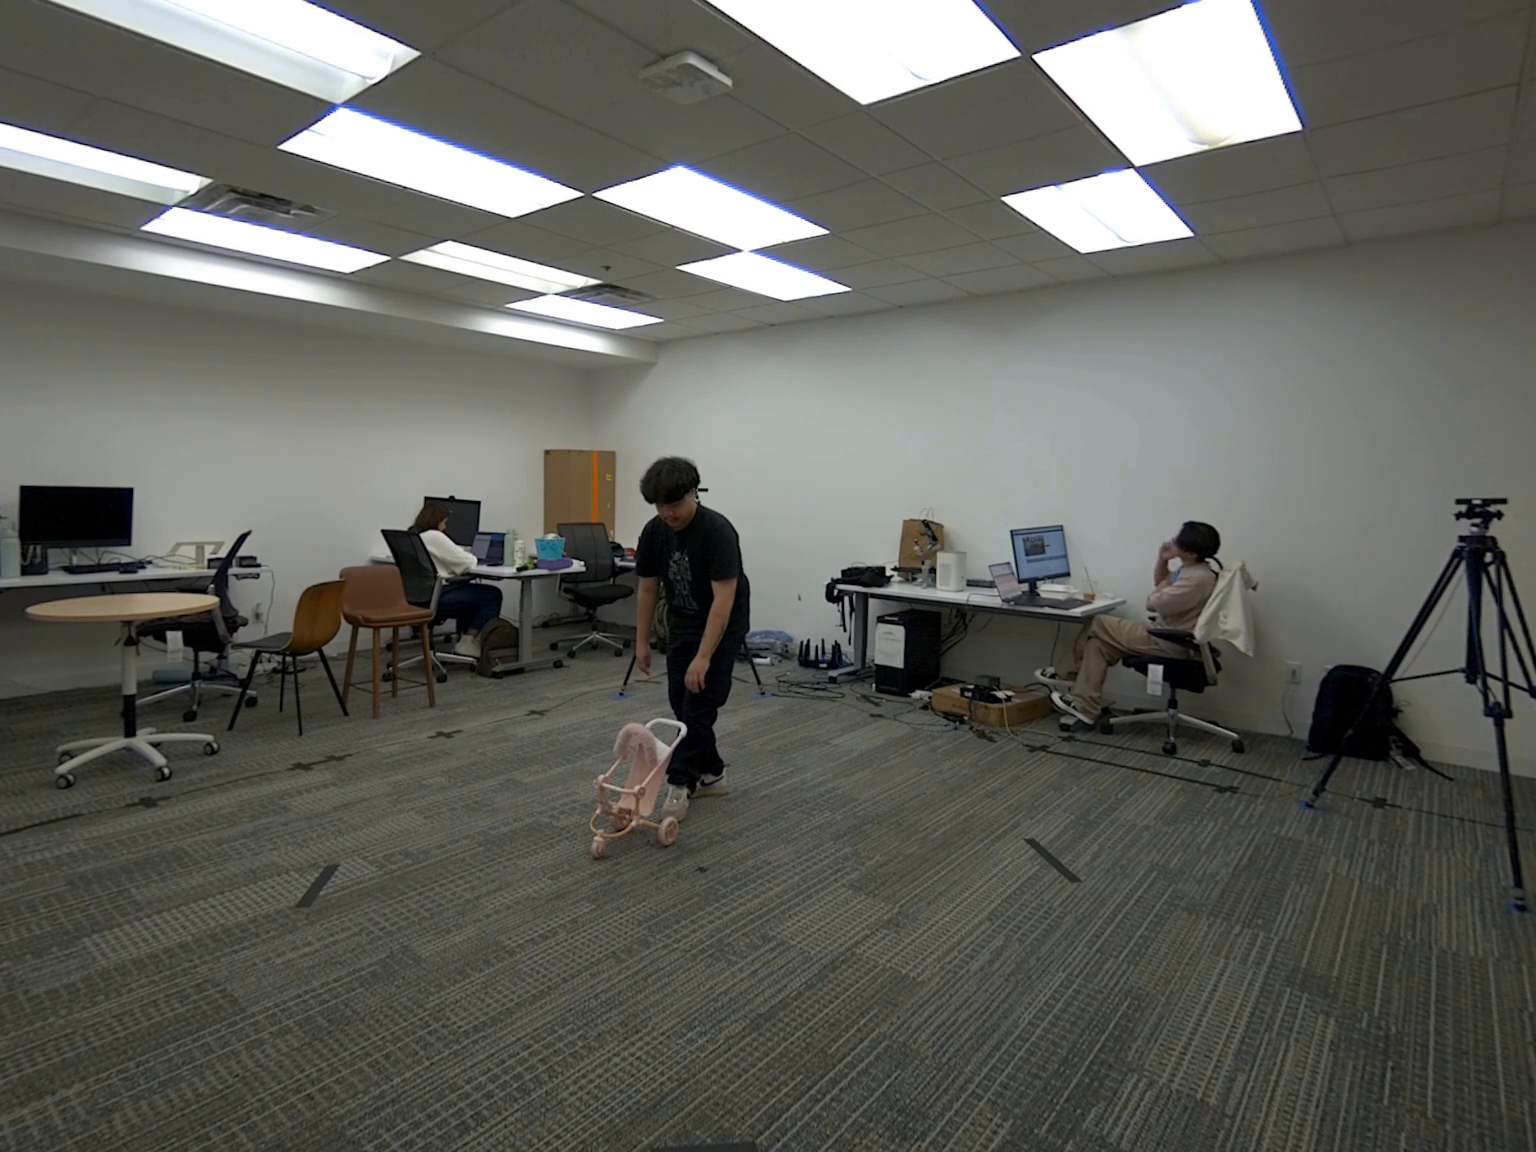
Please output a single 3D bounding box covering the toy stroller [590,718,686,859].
[{"bbox_3d":[-0.537,0.815,3.331,0.291,0.539,0.328,3,-11,39],"label":"toy stroller"}]
